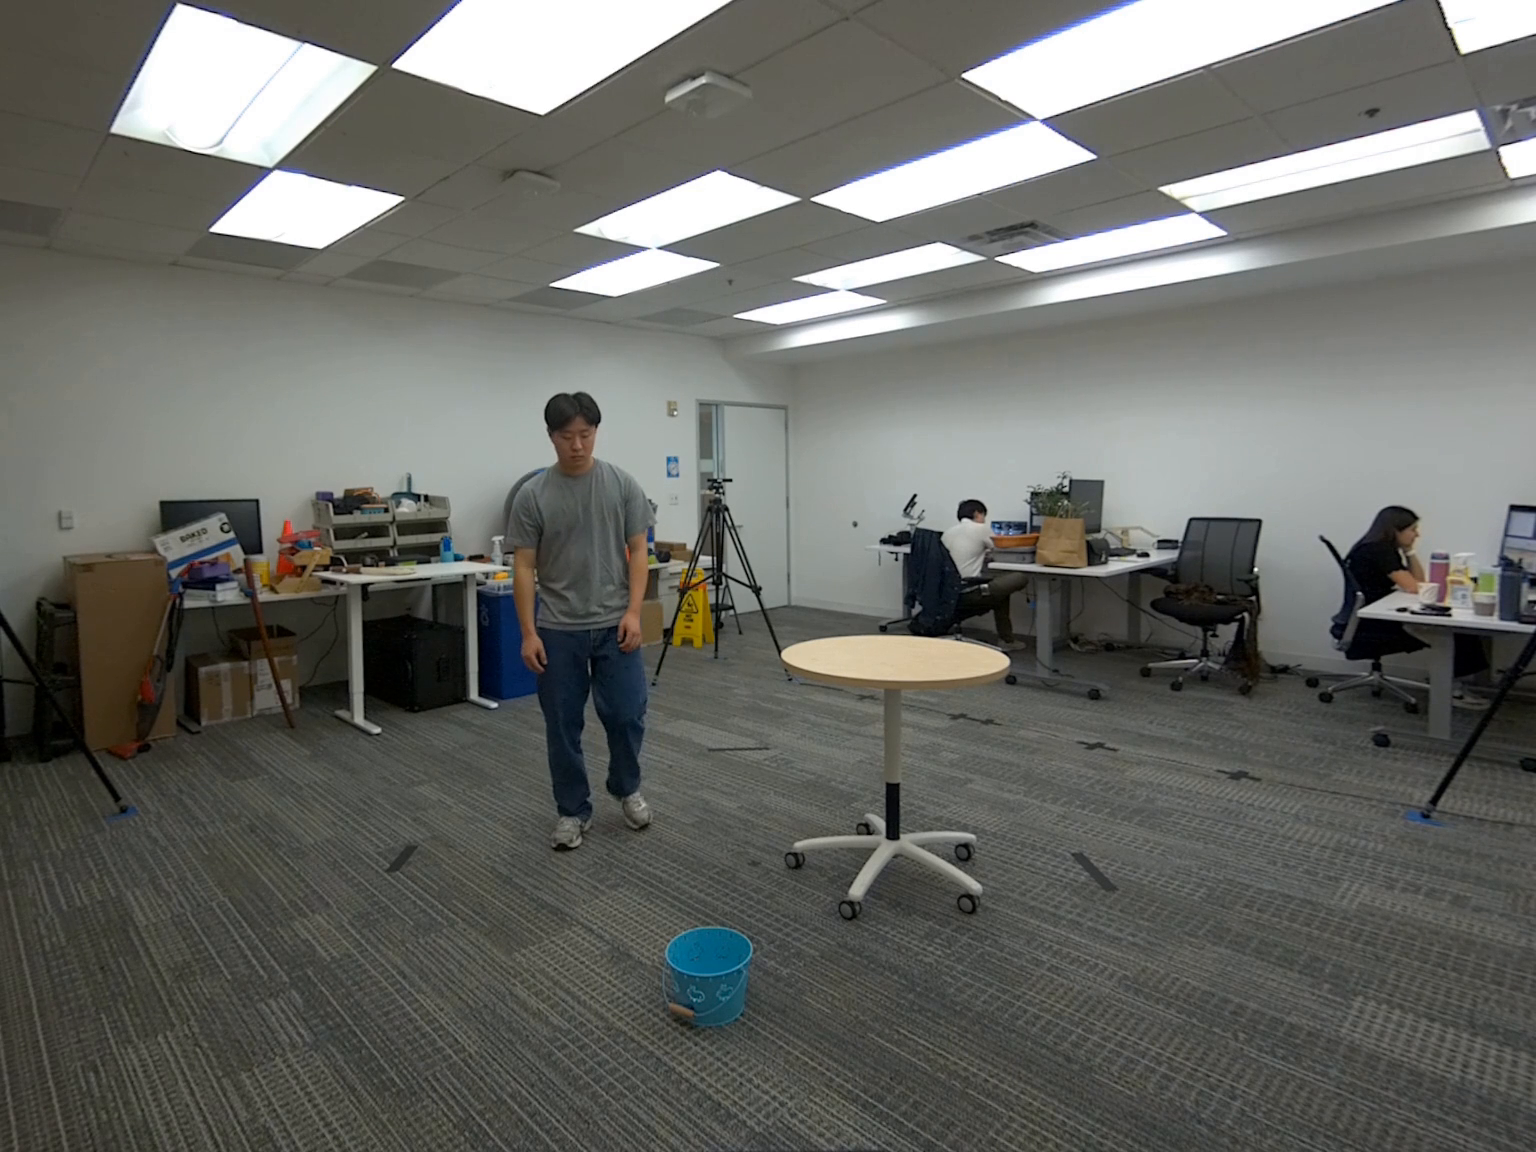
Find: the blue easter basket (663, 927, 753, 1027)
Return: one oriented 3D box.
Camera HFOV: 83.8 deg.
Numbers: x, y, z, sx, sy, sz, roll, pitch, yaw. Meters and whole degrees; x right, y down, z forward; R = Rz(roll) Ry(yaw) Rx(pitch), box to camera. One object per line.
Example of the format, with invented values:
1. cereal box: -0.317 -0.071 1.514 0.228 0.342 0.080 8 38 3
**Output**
1. blue easter basket: -0.157 1.068 2.275 0.243 0.155 0.245 -1 5 -2
